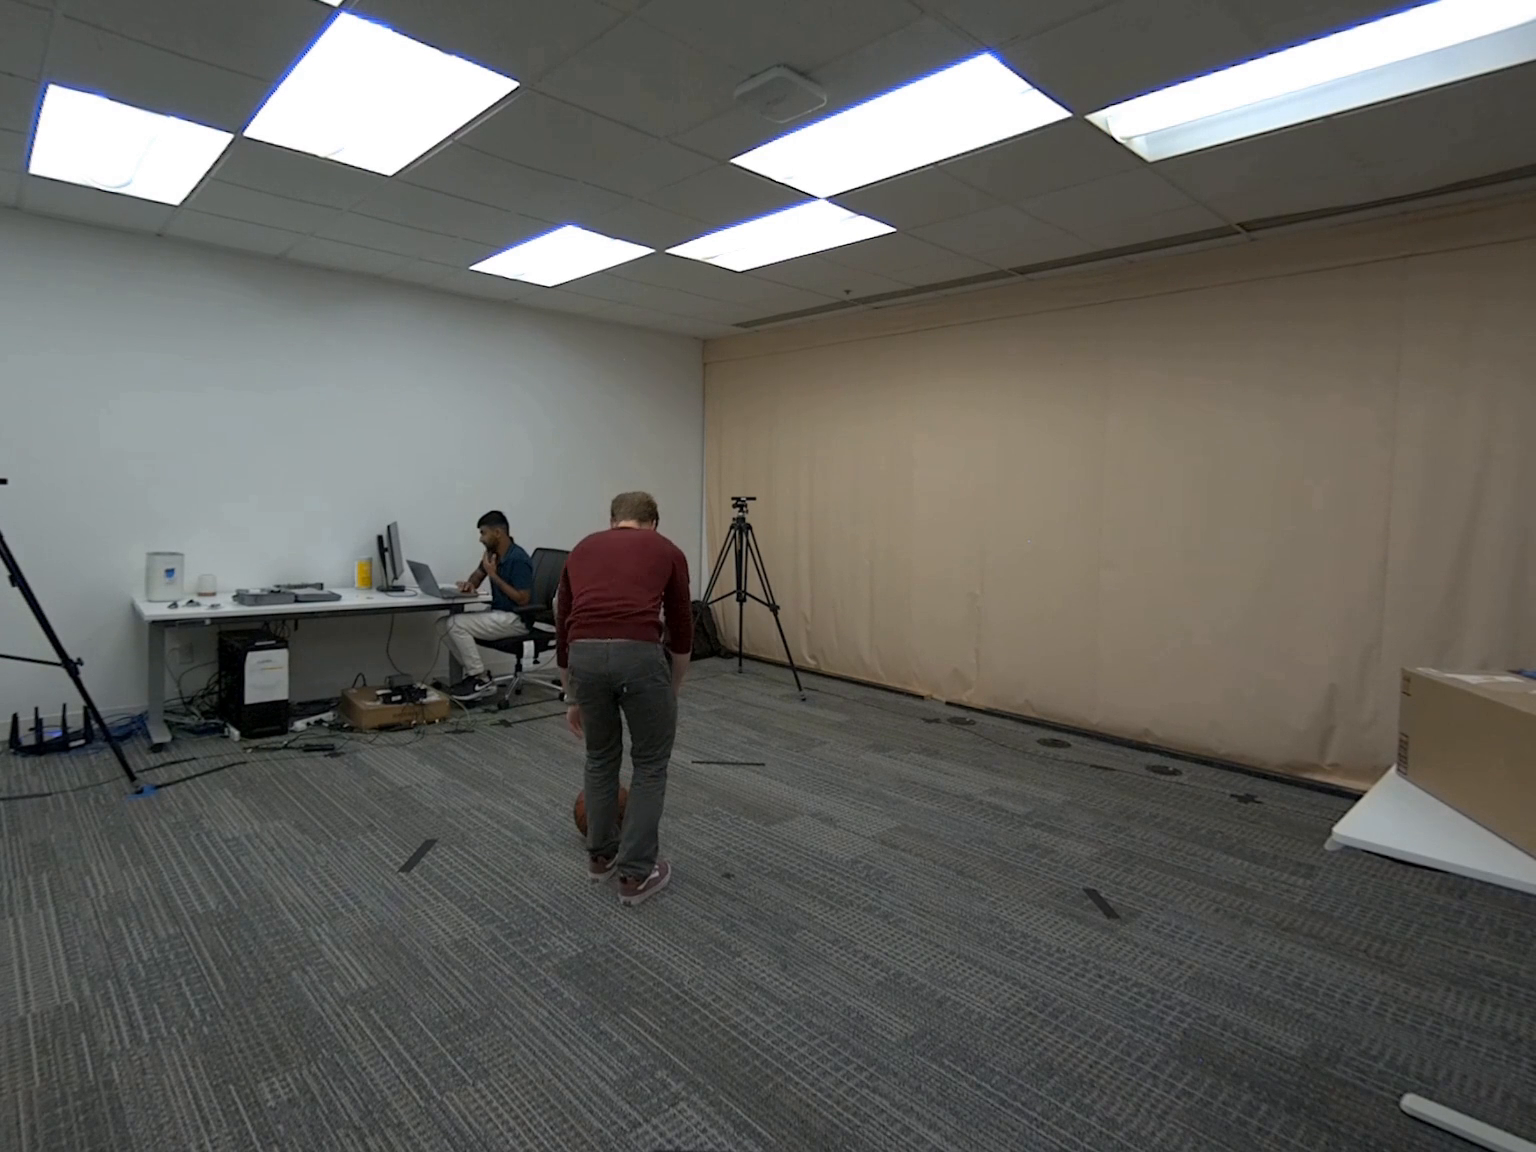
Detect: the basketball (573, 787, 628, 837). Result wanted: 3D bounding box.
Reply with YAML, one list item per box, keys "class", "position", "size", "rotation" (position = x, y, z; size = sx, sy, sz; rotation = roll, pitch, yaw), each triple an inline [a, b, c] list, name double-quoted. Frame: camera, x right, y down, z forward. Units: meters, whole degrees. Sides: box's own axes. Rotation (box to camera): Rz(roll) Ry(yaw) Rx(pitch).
- class: "basketball"
  position: [-0.674, 0.947, 3.400]
  size: [0.236, 0.235, 0.237]
  rotation: [1, 4, -1]
